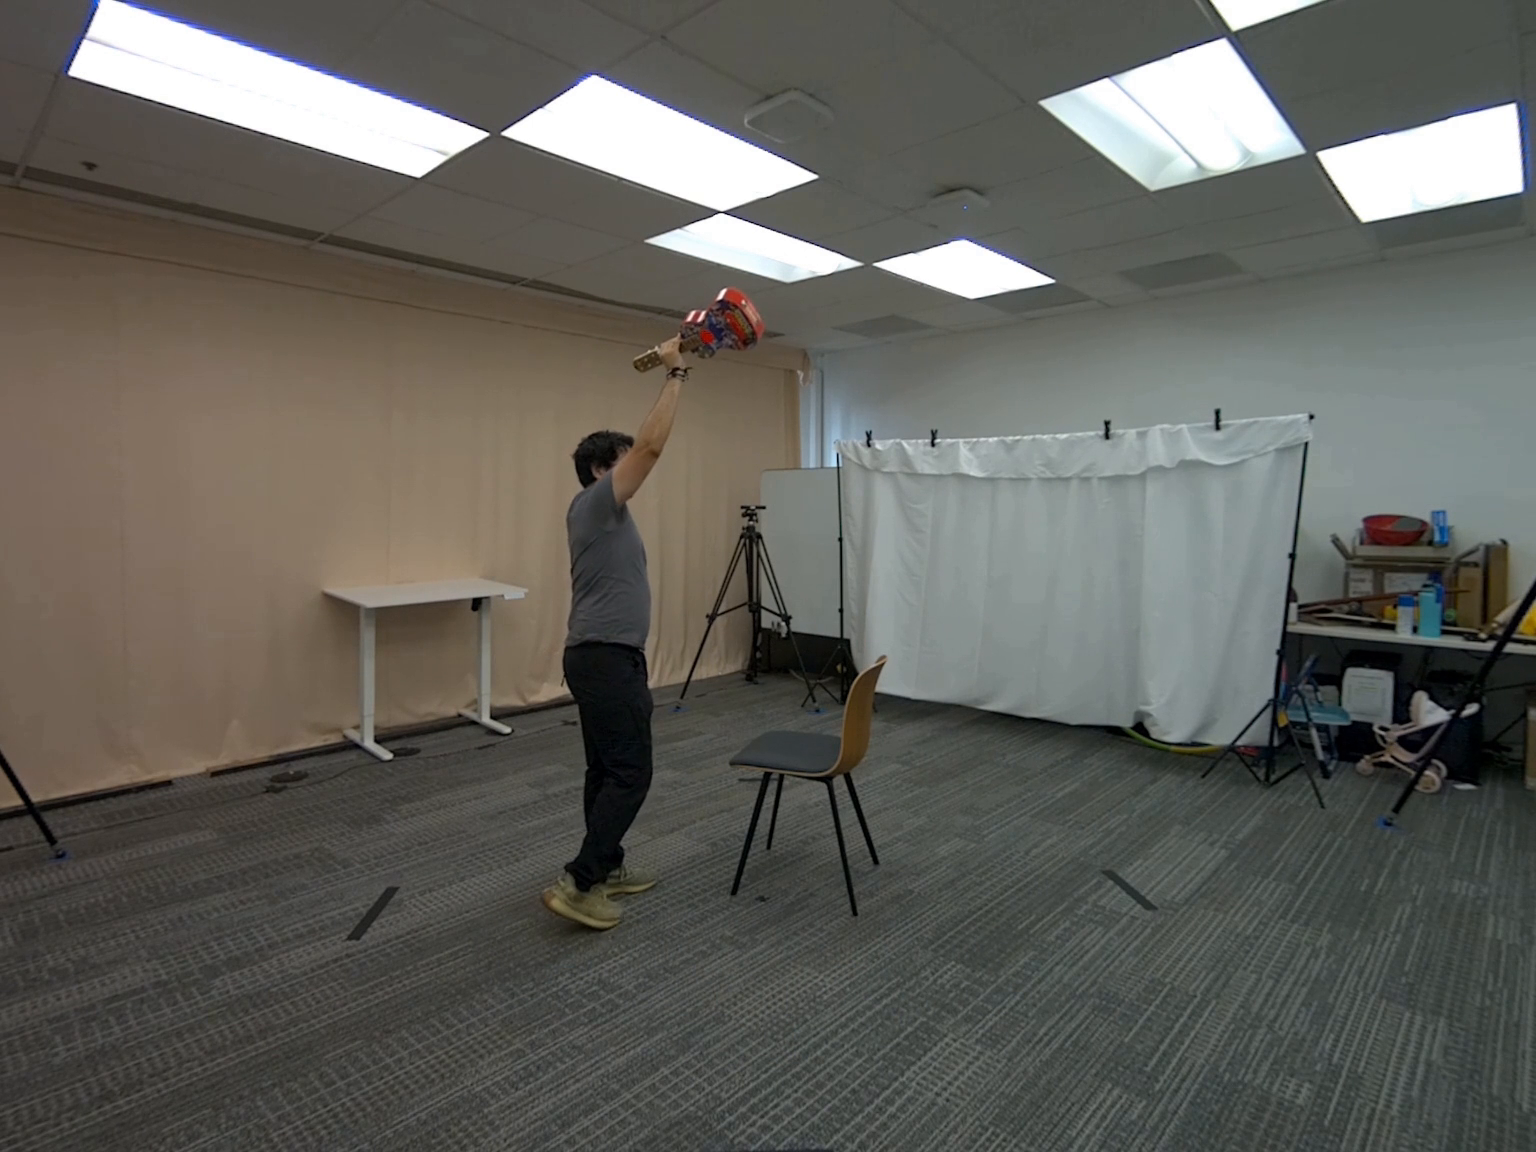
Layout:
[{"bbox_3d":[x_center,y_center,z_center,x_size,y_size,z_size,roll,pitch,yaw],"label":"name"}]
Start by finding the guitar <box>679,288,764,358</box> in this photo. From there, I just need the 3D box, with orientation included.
[{"bbox_3d":[-0.261,-0.795,2.748,0.512,0.187,0.071,-3,45,32],"label":"guitar"}]
